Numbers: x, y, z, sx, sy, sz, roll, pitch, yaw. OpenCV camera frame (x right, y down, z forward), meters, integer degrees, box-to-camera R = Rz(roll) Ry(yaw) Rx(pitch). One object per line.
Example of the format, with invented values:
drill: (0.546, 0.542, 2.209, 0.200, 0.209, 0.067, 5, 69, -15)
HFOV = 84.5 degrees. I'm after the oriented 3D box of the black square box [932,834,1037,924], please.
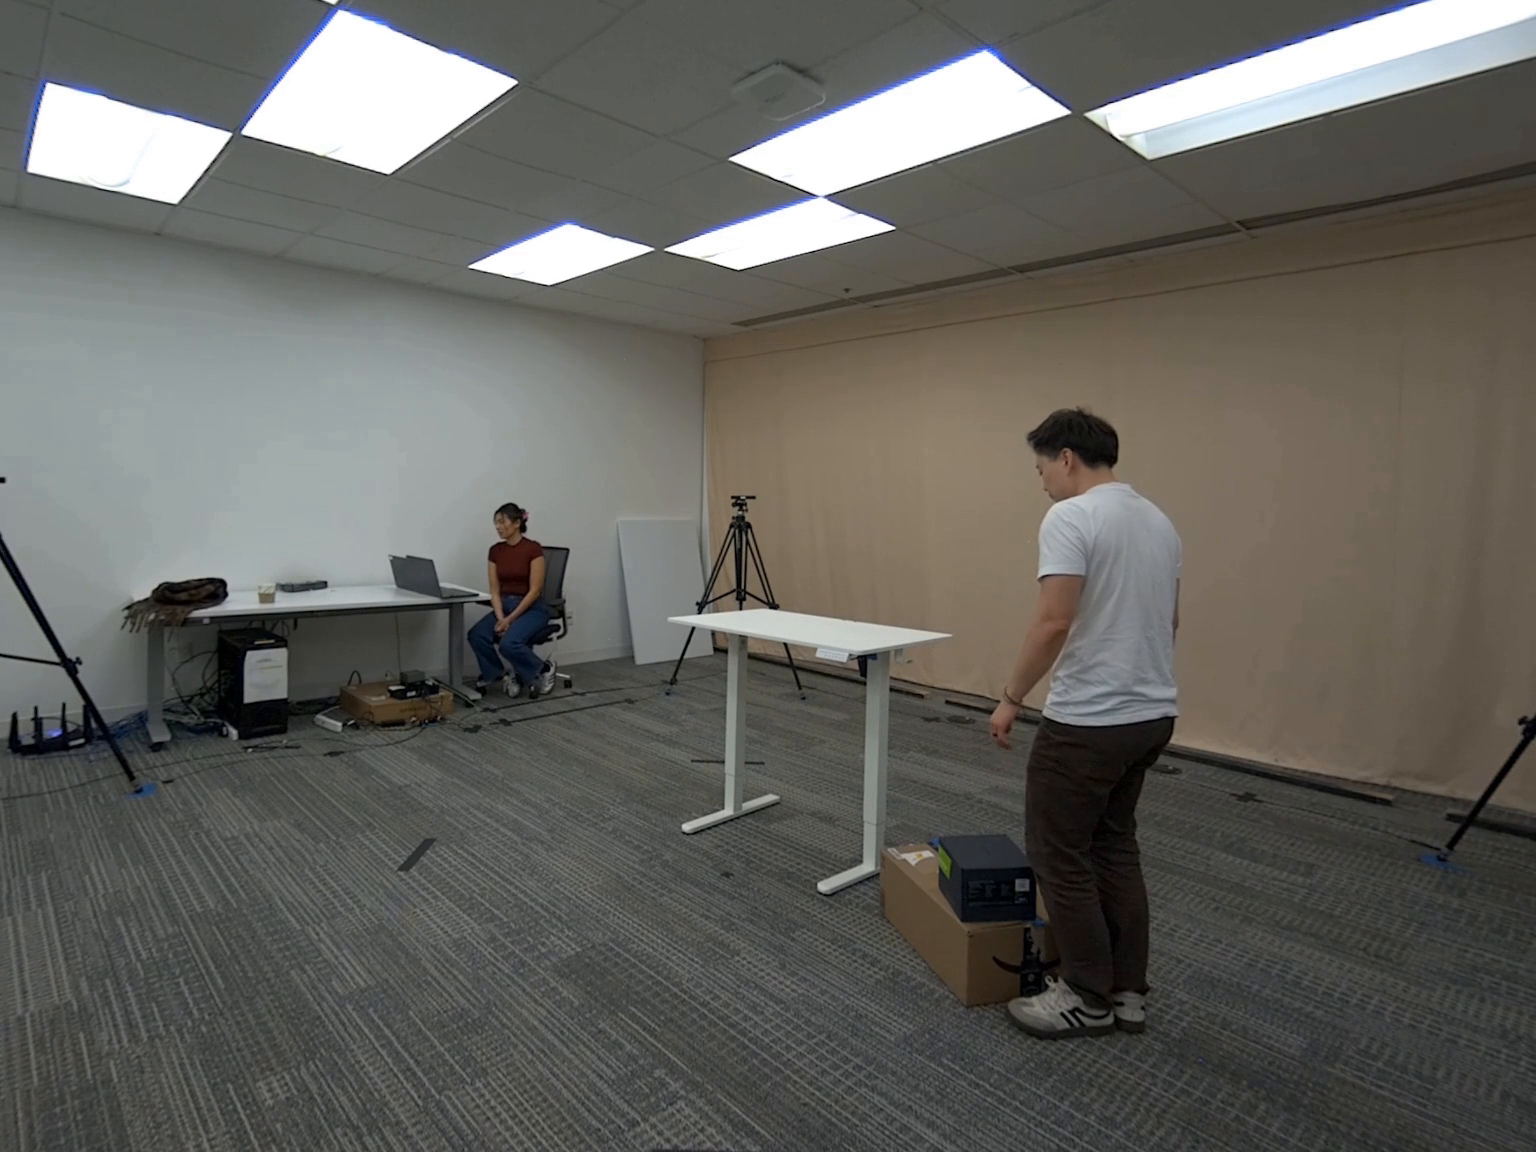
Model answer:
black square box: (0.627, 0.878, 2.472, 0.216, 0.155, 0.229, 0, 4, -4)
